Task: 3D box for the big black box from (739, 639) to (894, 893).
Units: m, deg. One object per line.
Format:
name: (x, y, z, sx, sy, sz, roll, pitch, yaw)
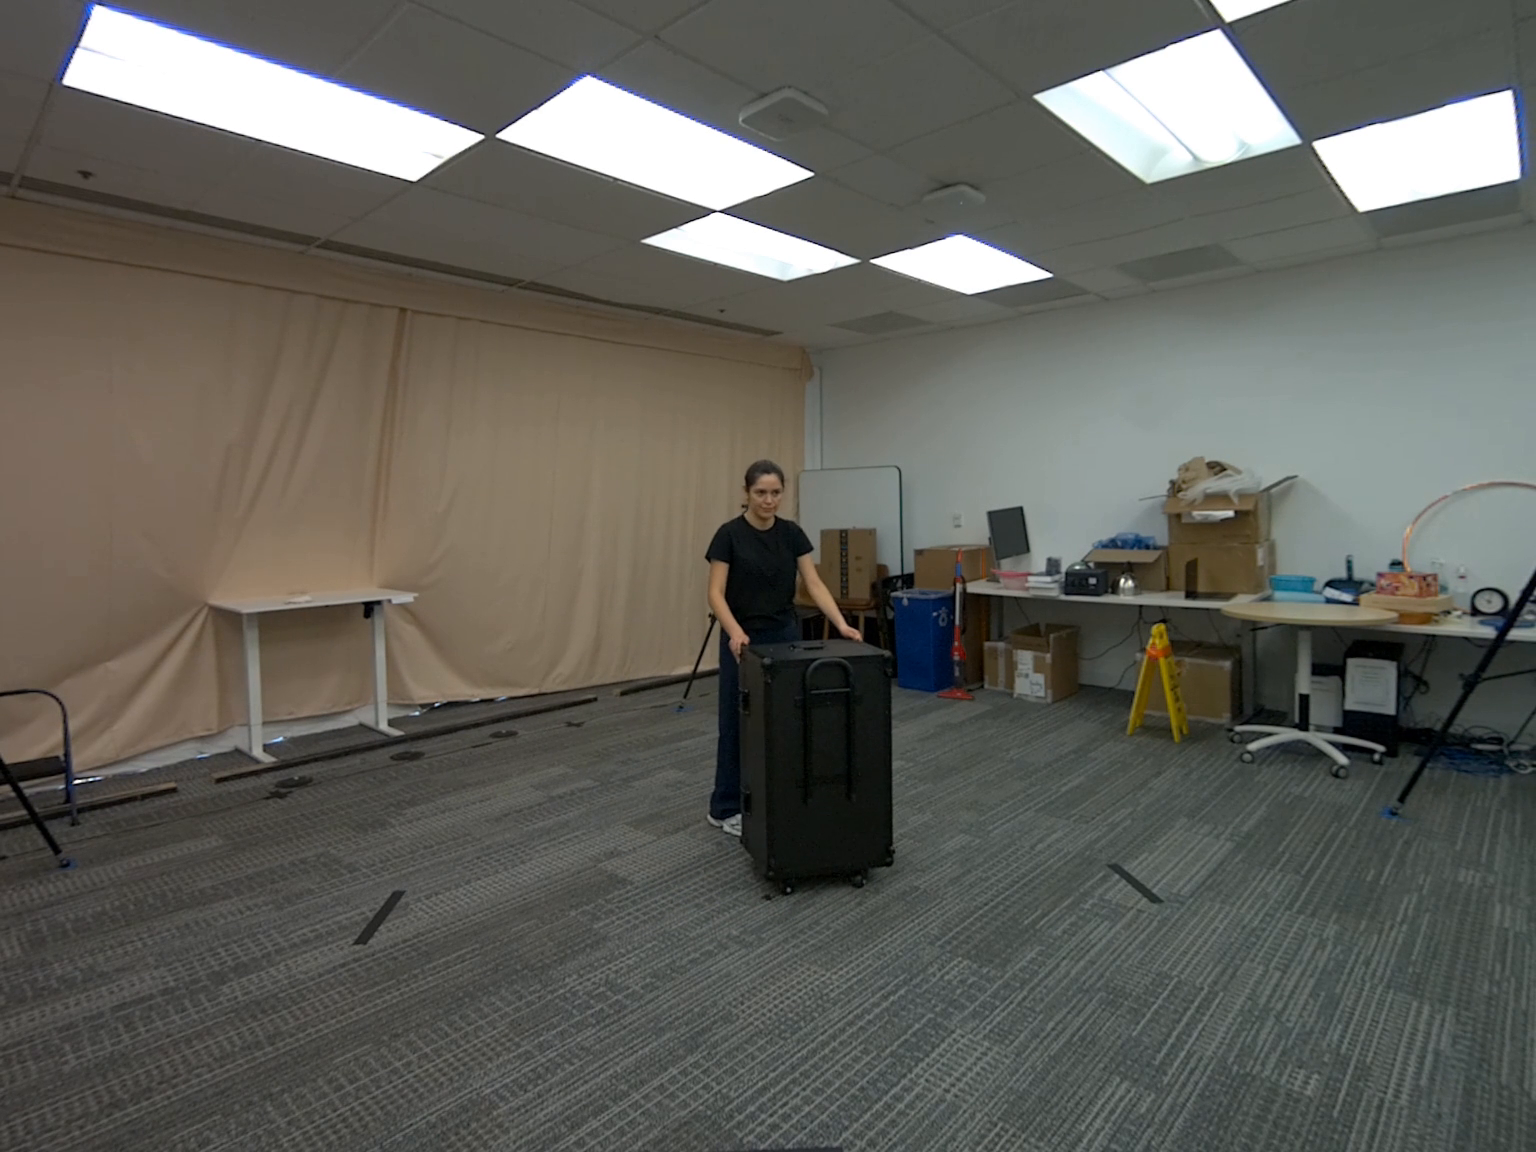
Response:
big black box: (0.191, 0.696, 3.152, 0.514, 0.859, 0.403, -2, 4, -14)
